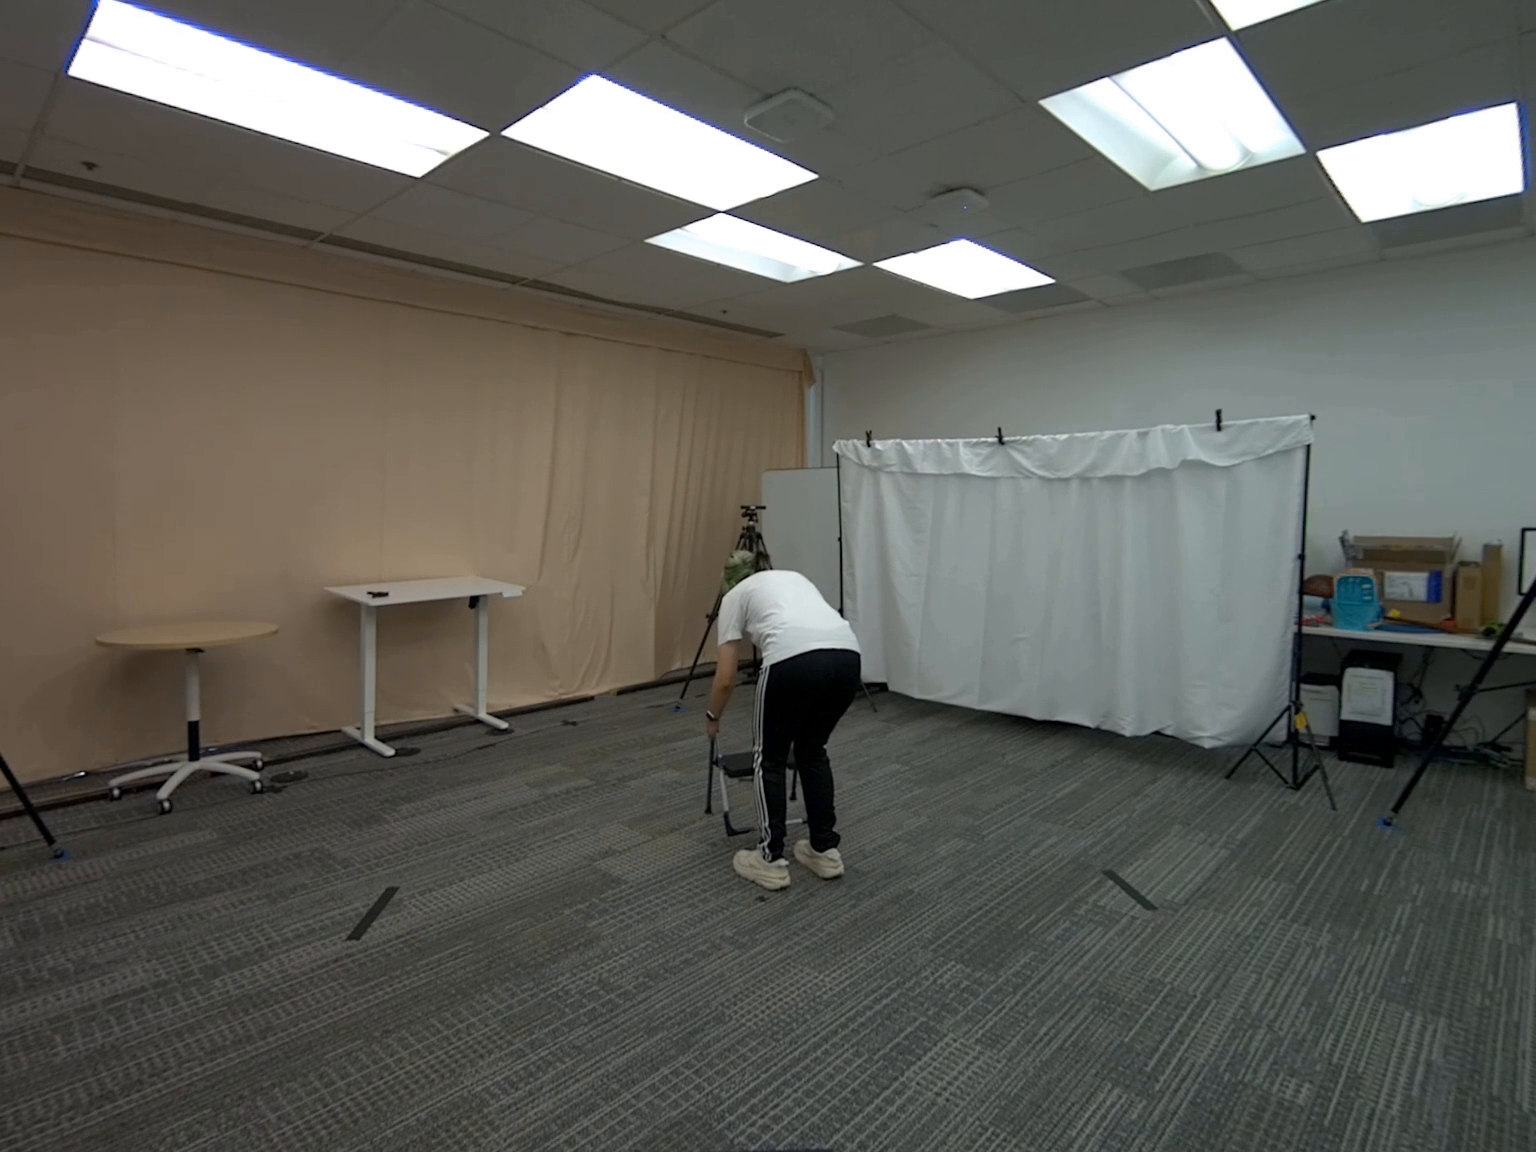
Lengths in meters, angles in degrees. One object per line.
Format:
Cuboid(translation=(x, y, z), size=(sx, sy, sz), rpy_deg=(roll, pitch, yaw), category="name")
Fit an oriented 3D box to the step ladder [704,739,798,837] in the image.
Cuboid(translation=(-0.041, 0.721, 3.564), size=(0.423, 0.605, 0.356), rpy_deg=(-4, 2, -19), category="step ladder")
